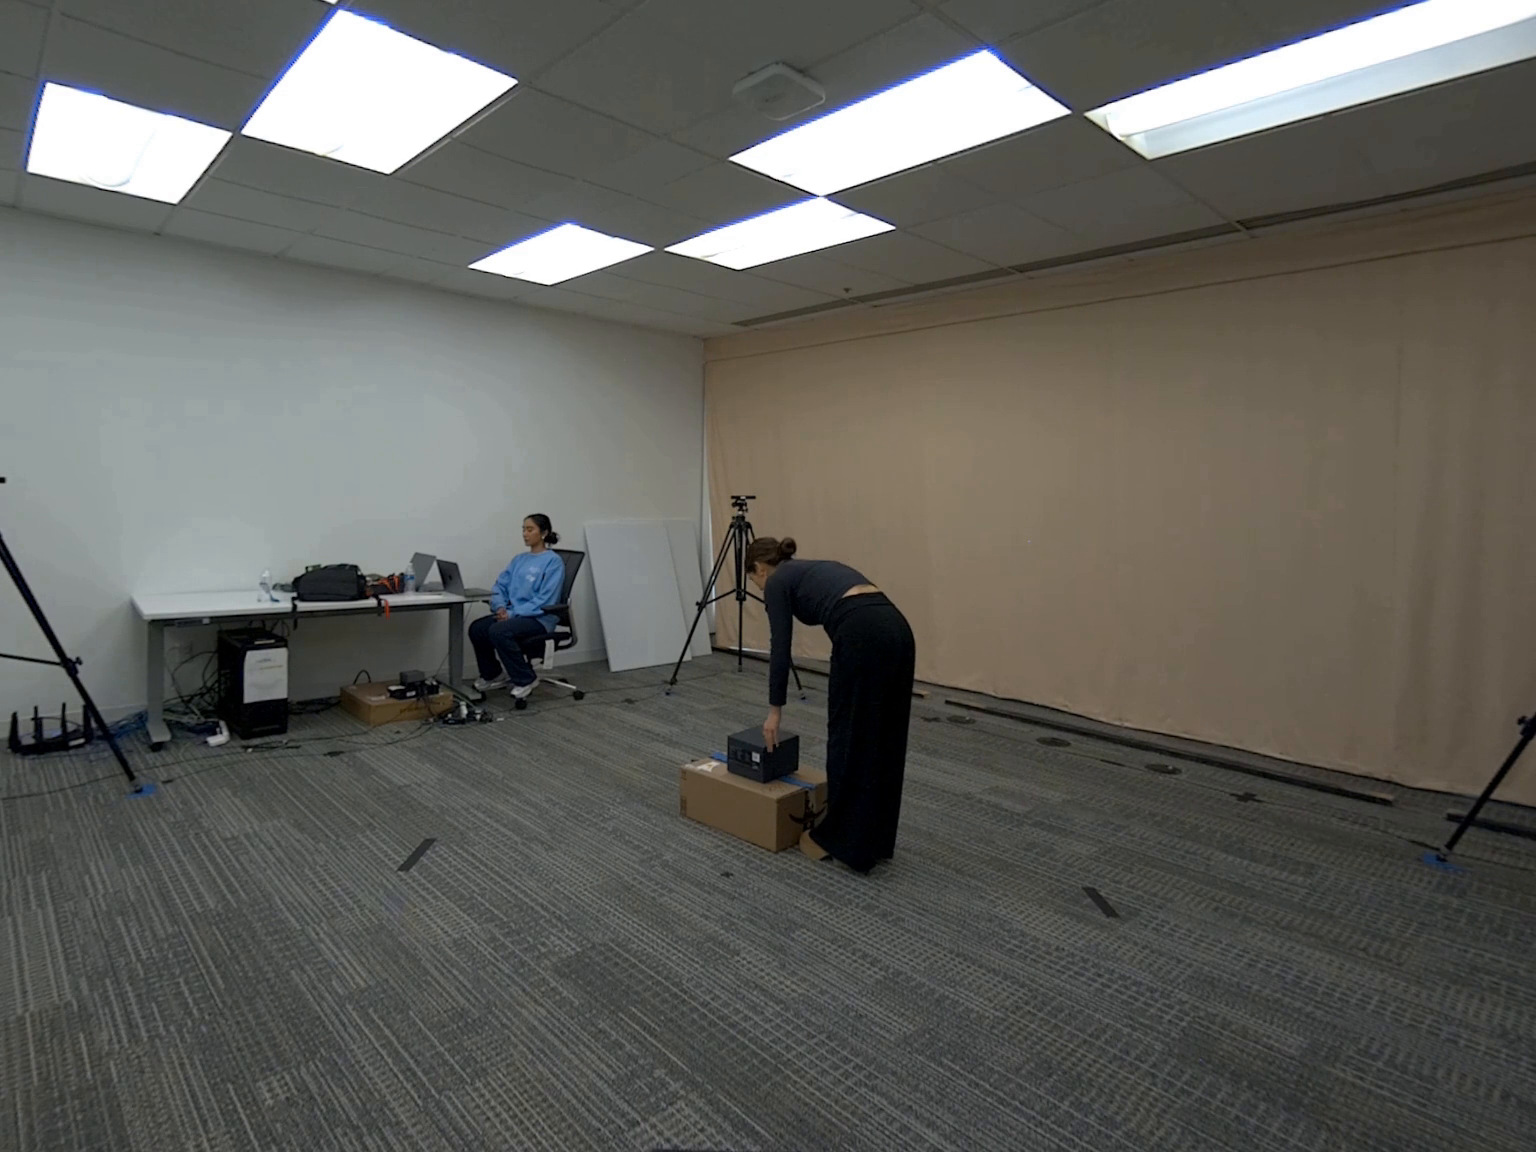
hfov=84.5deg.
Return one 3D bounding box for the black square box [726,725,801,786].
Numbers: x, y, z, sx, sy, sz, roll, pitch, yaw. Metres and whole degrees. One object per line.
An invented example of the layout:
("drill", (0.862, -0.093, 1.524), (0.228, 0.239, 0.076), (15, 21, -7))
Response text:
("black square box", (-0.021, 0.759, 3.608), (0.222, 0.155, 0.223), (6, 9, 42))
